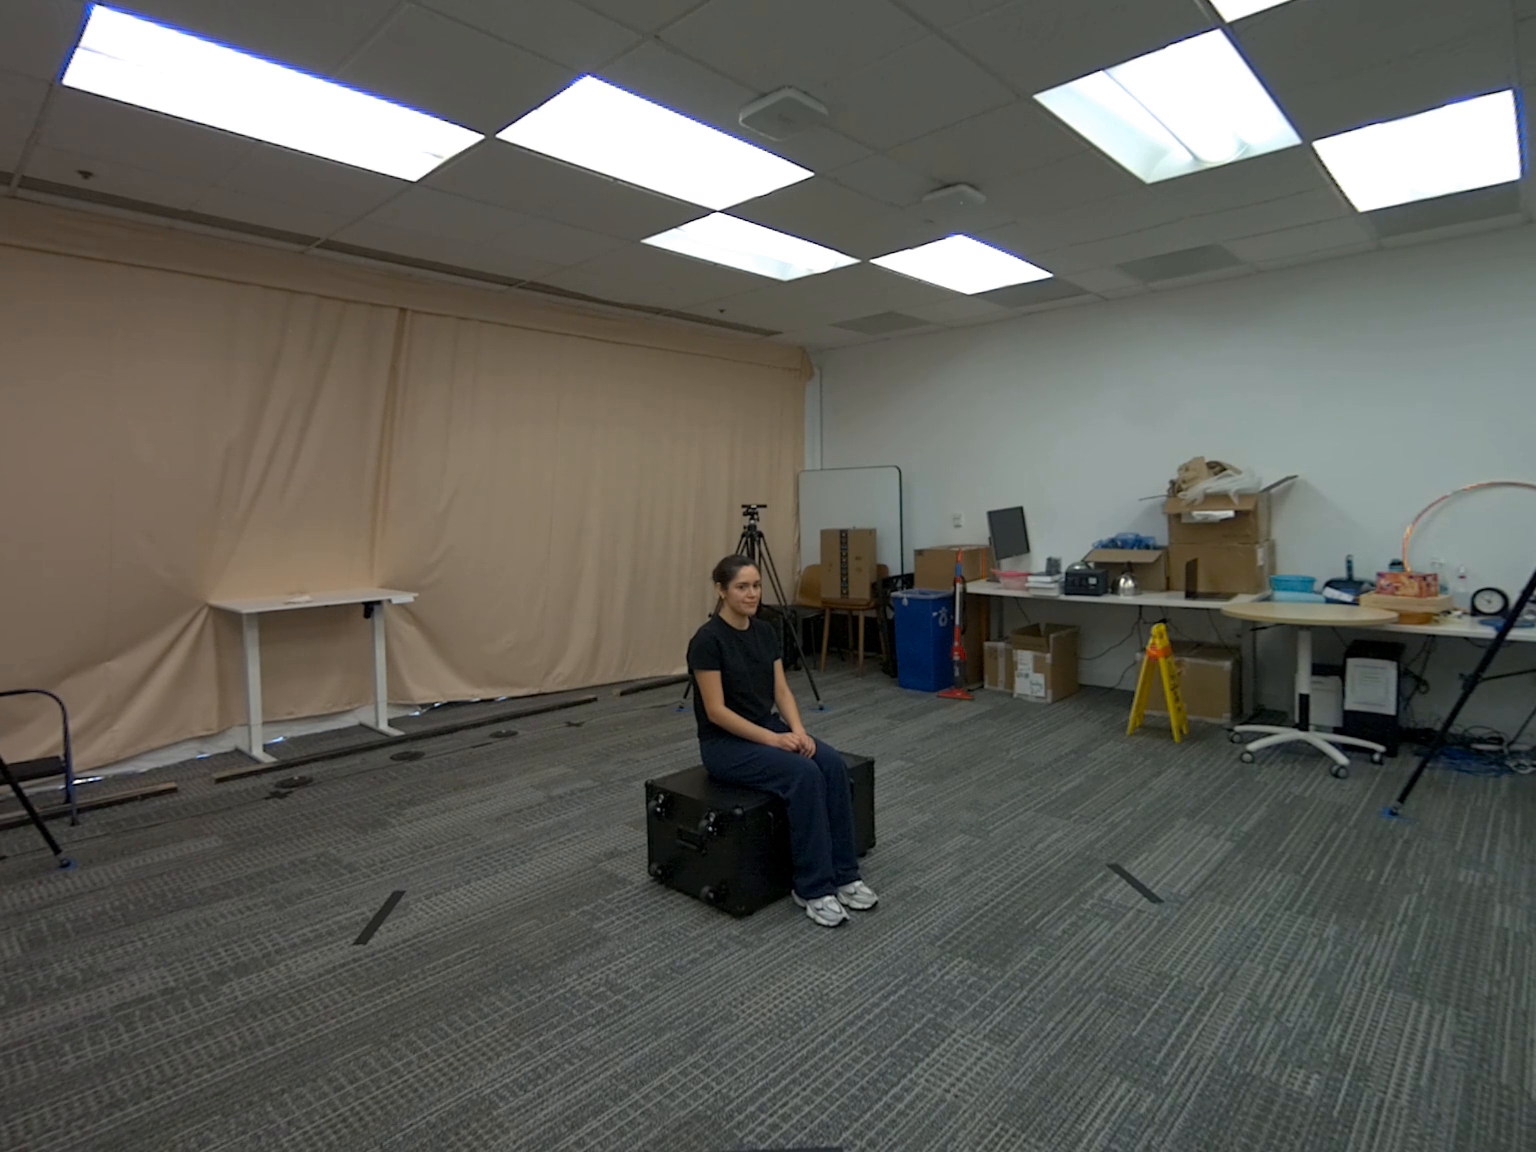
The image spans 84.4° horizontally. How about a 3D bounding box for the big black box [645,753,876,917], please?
[{"bbox_3d":[-0.024,0.932,3.216,0.538,0.395,0.835,2,5,43],"label":"big black box"}]
